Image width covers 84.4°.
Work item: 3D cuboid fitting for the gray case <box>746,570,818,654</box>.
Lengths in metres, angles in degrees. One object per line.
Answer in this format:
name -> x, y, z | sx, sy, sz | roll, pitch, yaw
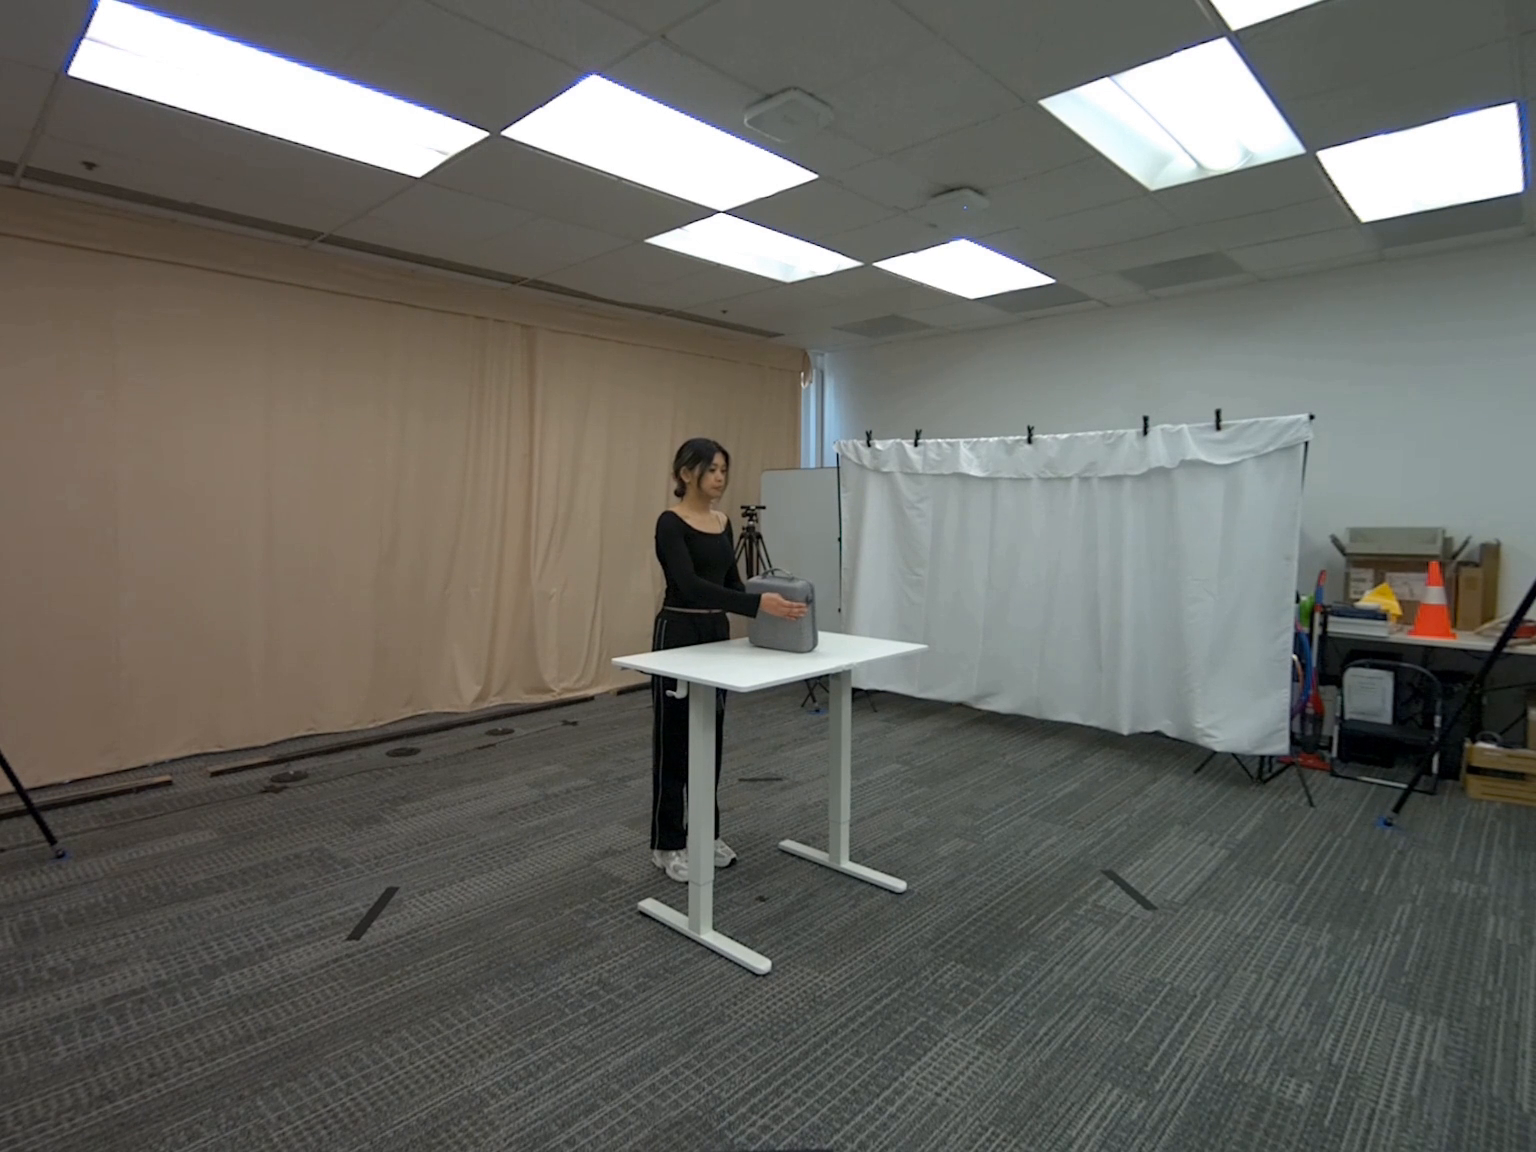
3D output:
gray case -> 0.048, 0.131, 2.974 | 0.265, 0.259, 0.101 | 4, 12, 39
